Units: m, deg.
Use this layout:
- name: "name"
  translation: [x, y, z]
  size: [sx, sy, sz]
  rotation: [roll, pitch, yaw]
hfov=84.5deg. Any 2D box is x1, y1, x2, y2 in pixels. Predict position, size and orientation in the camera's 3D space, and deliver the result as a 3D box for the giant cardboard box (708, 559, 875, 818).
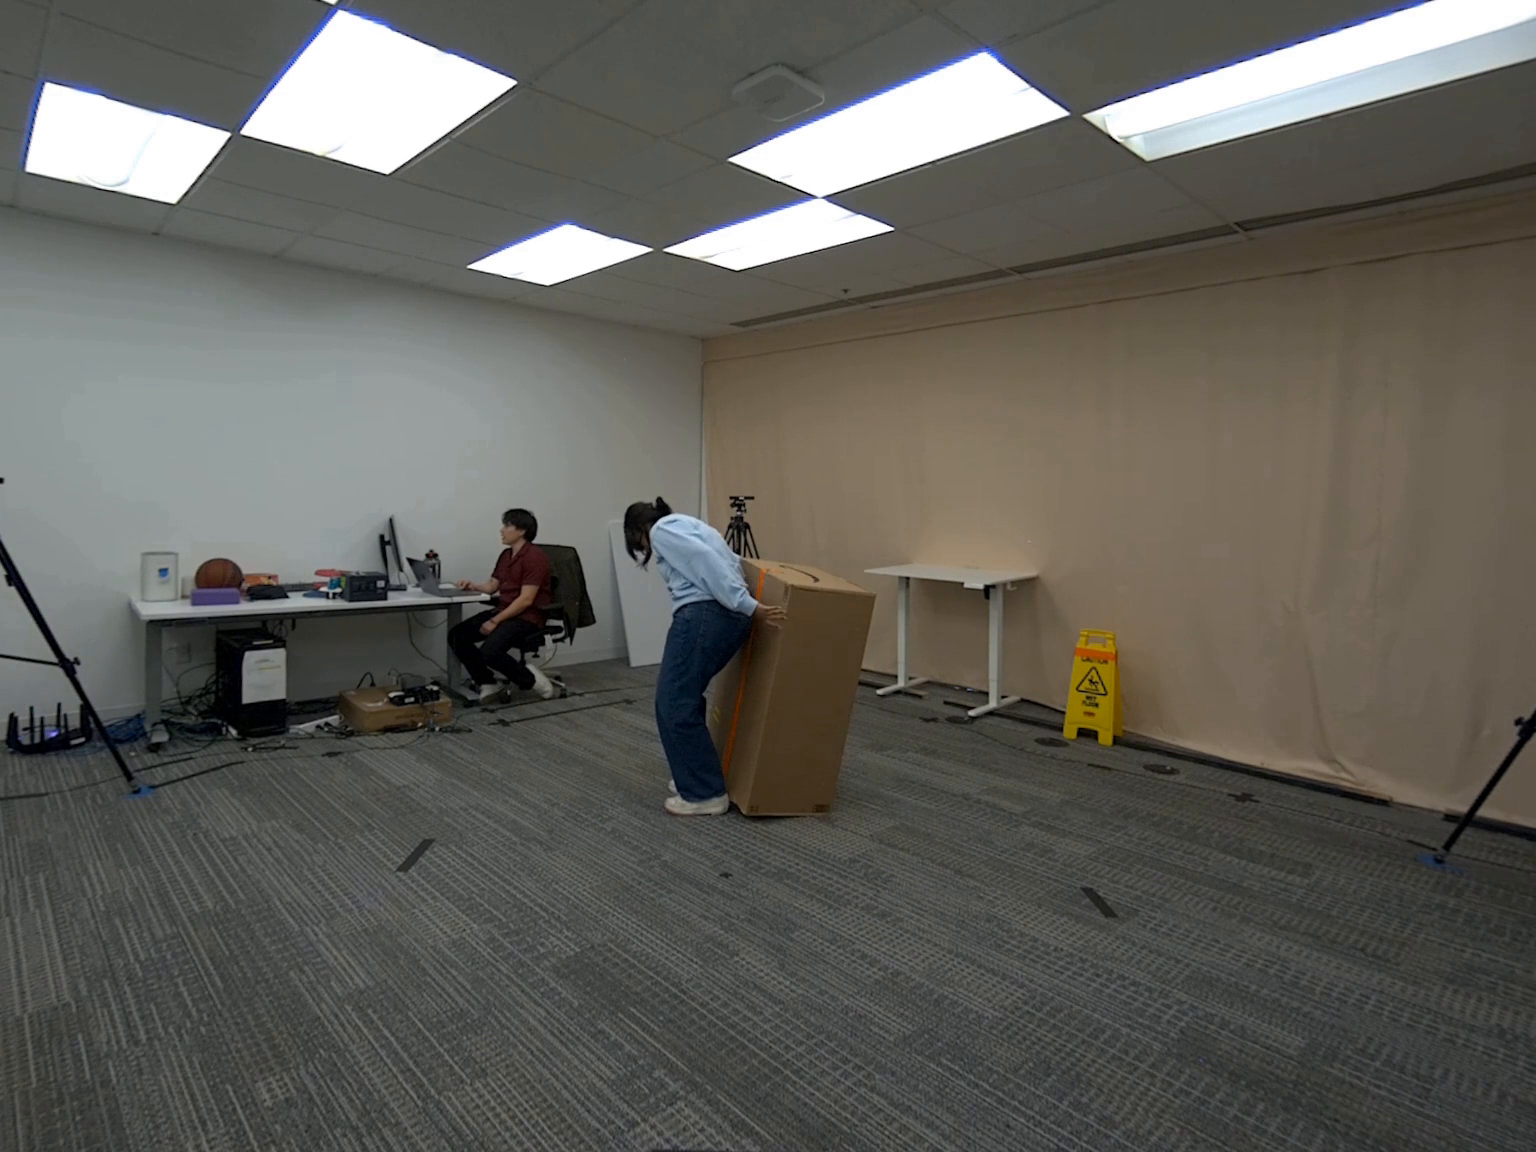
- name: "giant cardboard box"
  translation: [0.068, 0.490, 3.864]
  size: [0.418, 1.021, 0.591]
  rotation: [7, 8, -23]
